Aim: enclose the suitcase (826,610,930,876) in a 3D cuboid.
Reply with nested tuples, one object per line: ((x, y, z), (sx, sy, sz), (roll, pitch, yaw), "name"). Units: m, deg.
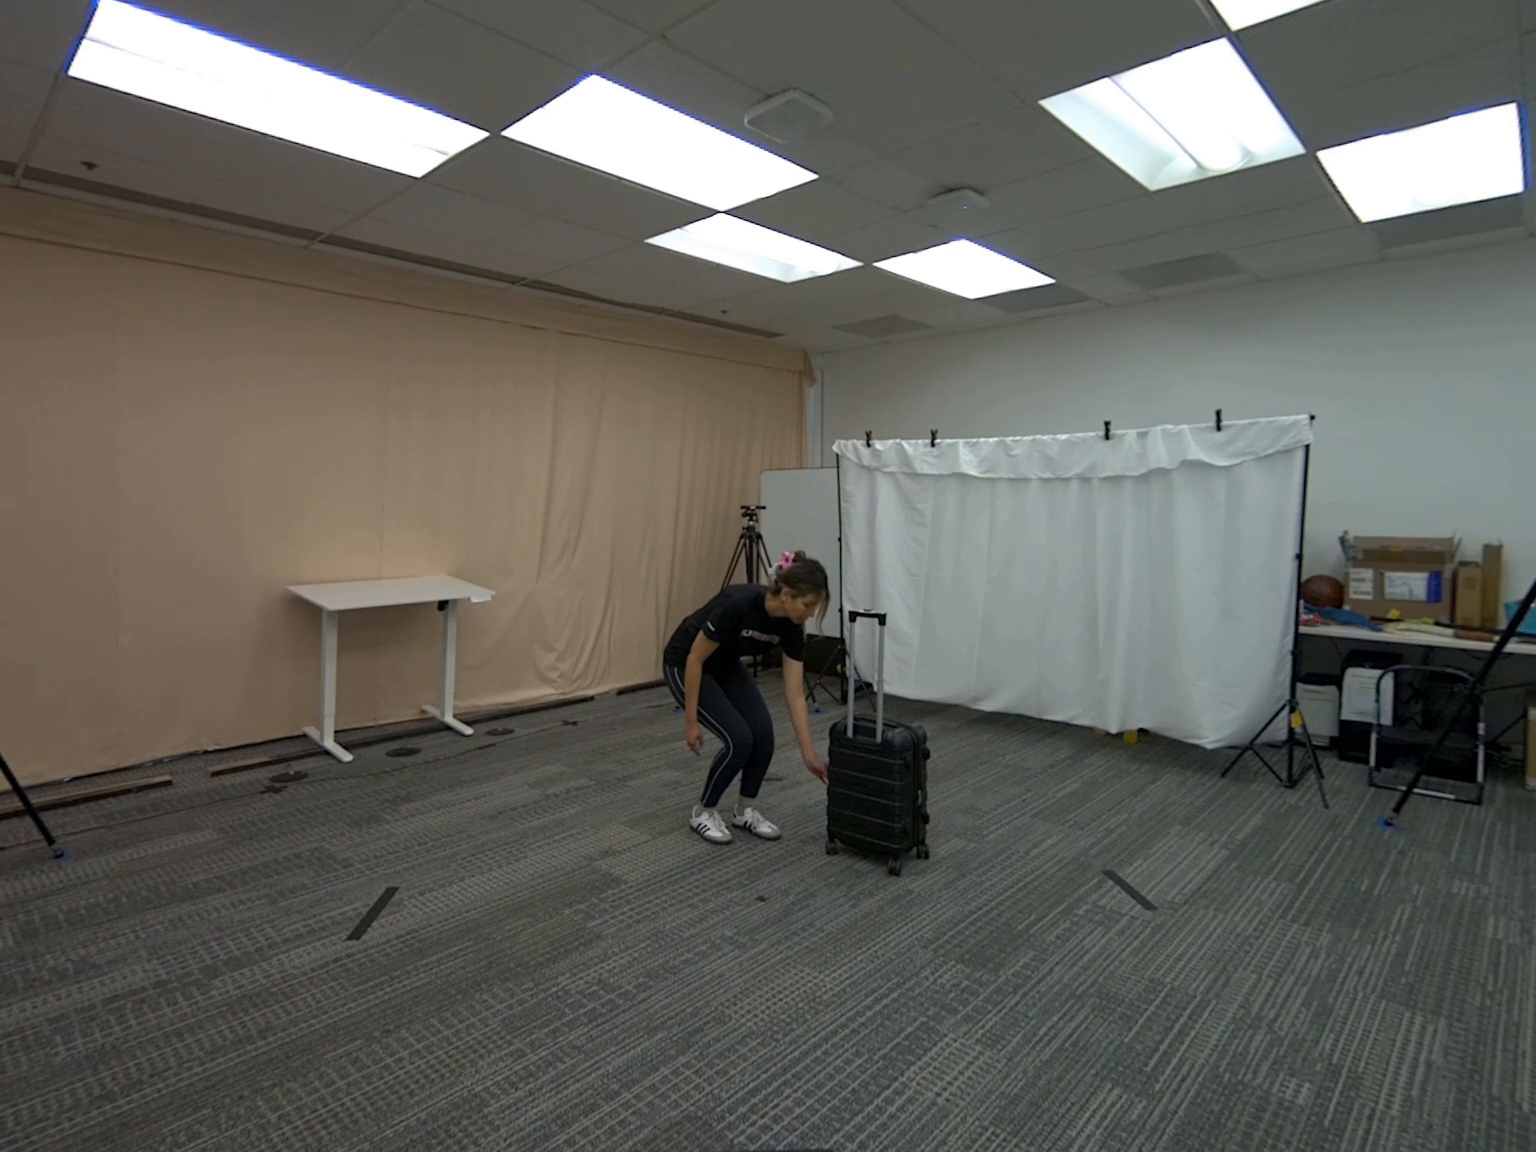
((0.443, 0.635, 3.362), (0.396, 0.979, 0.249), (0, 0, 39), "suitcase")
